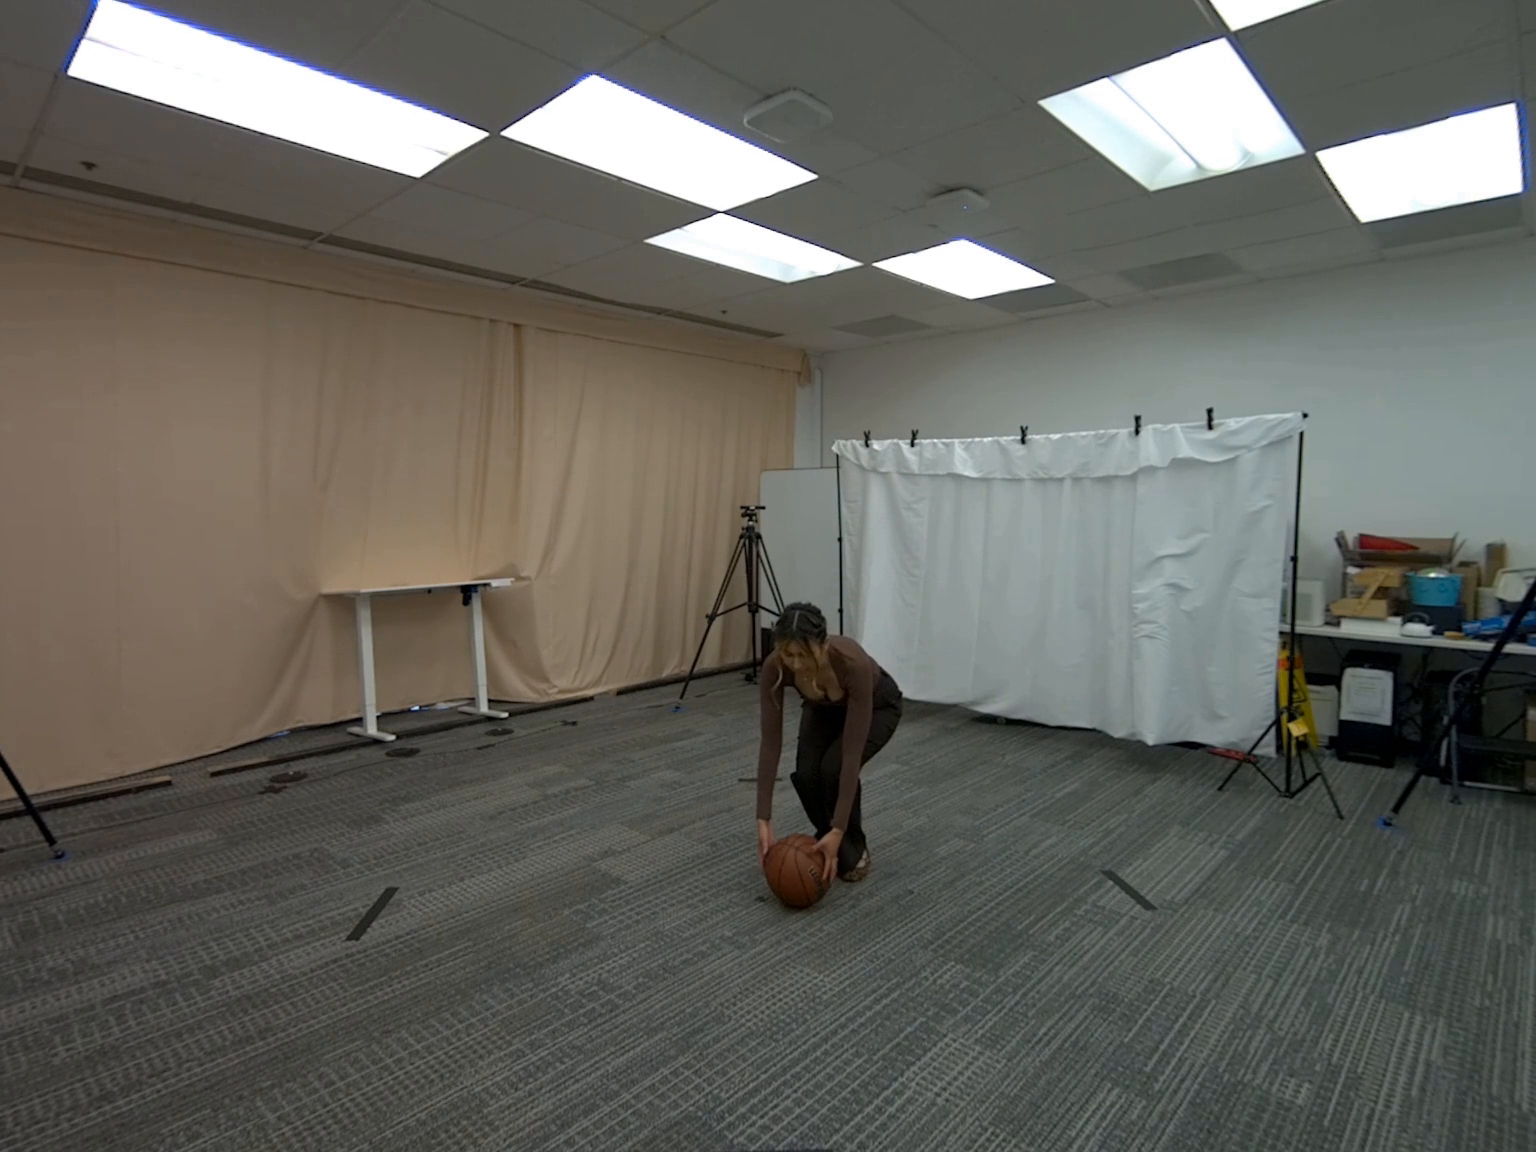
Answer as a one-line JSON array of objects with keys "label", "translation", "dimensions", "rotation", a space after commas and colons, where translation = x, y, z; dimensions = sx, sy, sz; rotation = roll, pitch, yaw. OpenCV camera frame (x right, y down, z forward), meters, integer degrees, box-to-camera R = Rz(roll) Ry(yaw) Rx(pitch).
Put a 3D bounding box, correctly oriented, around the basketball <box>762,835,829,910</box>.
[{"label": "basketball", "translation": [0.110, 1.022, 2.944], "dimensions": [0.236, 0.235, 0.237], "rotation": [0, 4, -2]}]
